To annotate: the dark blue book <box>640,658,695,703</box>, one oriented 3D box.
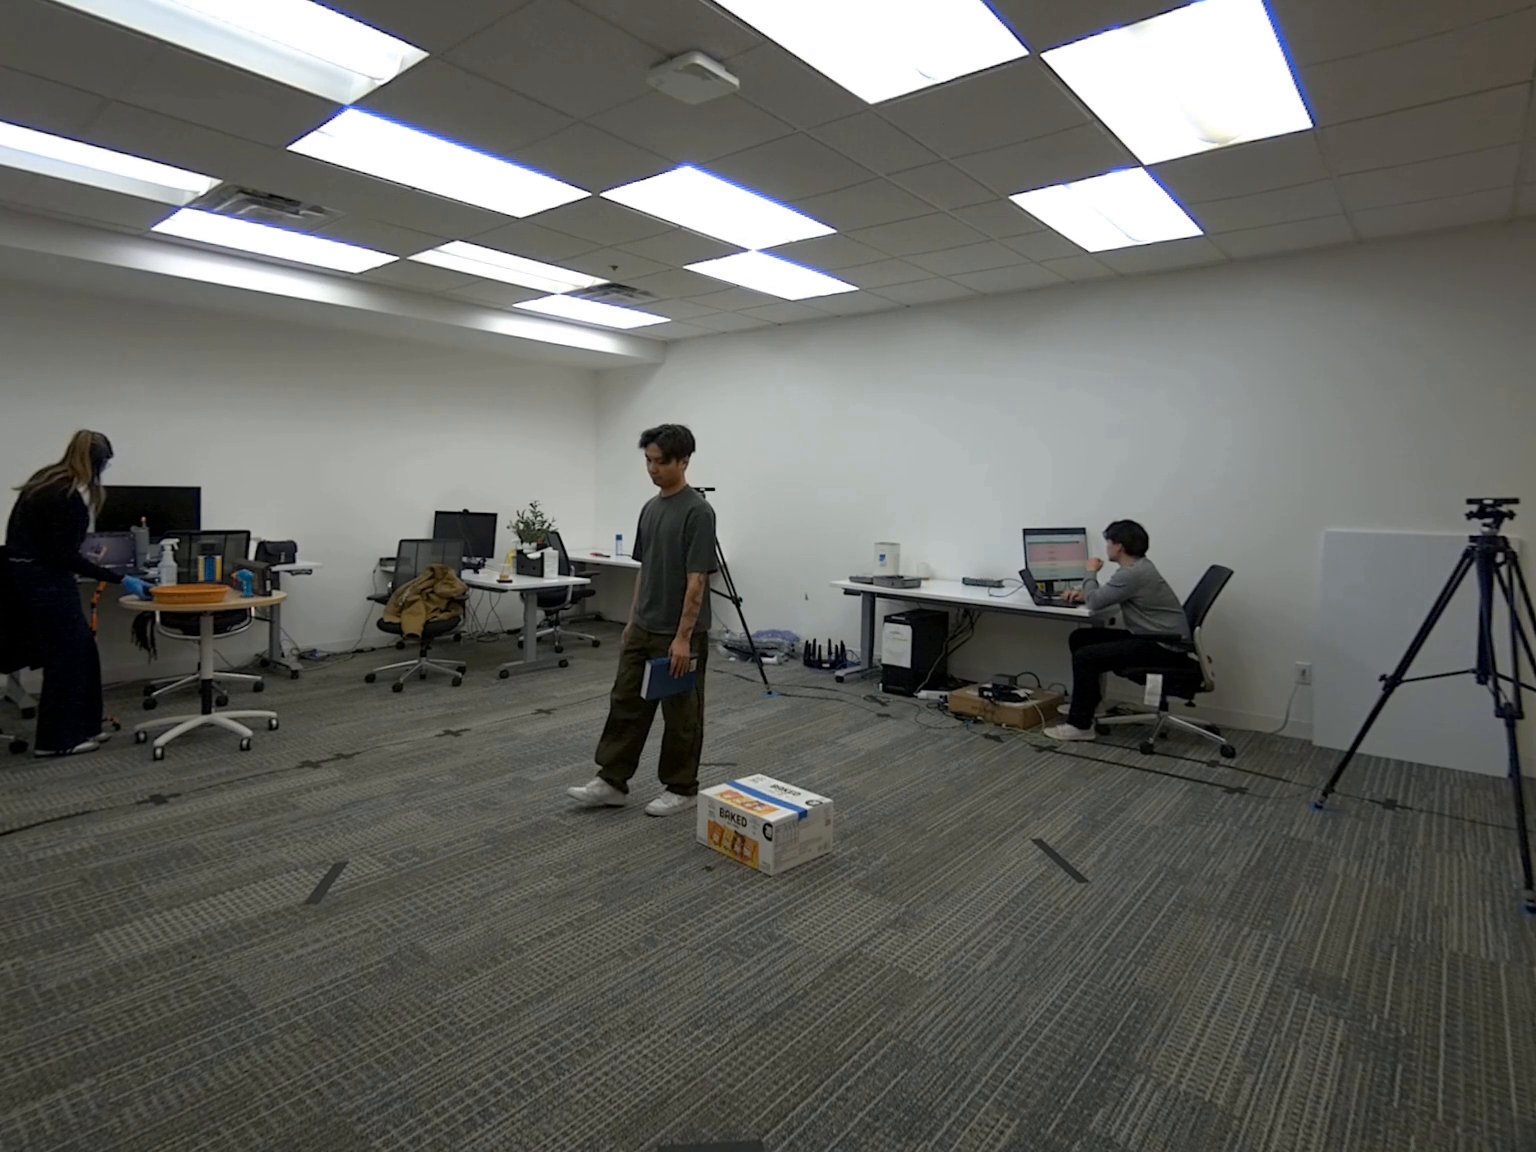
[{"bbox_3d":[-0.410,0.401,3.439,0.238,0.161,0.047,-8,25,-43],"label":"dark blue book"}]
